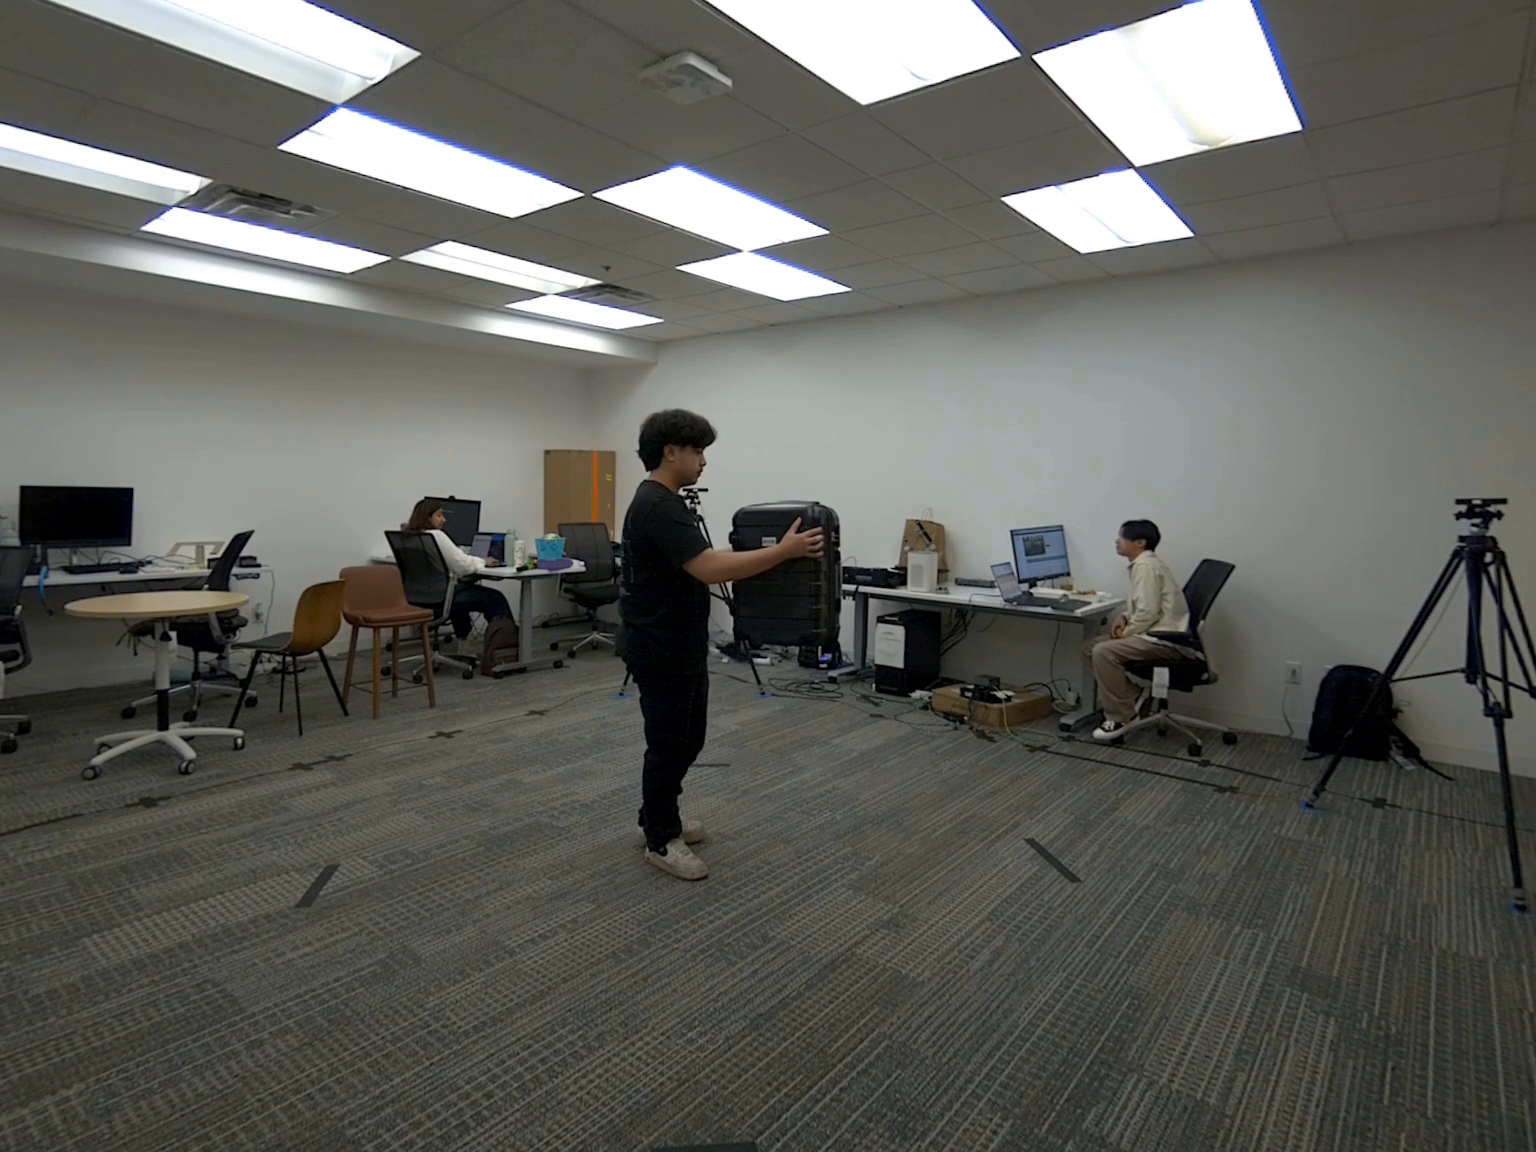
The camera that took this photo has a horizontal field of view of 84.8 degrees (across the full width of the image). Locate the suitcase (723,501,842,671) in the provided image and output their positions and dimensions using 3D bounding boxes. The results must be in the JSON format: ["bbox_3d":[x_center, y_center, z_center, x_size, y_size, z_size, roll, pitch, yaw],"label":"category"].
[{"bbox_3d":[0.056,0.005,3.047,0.385,0.548,0.242,1,2,25],"label":"suitcase"}]
